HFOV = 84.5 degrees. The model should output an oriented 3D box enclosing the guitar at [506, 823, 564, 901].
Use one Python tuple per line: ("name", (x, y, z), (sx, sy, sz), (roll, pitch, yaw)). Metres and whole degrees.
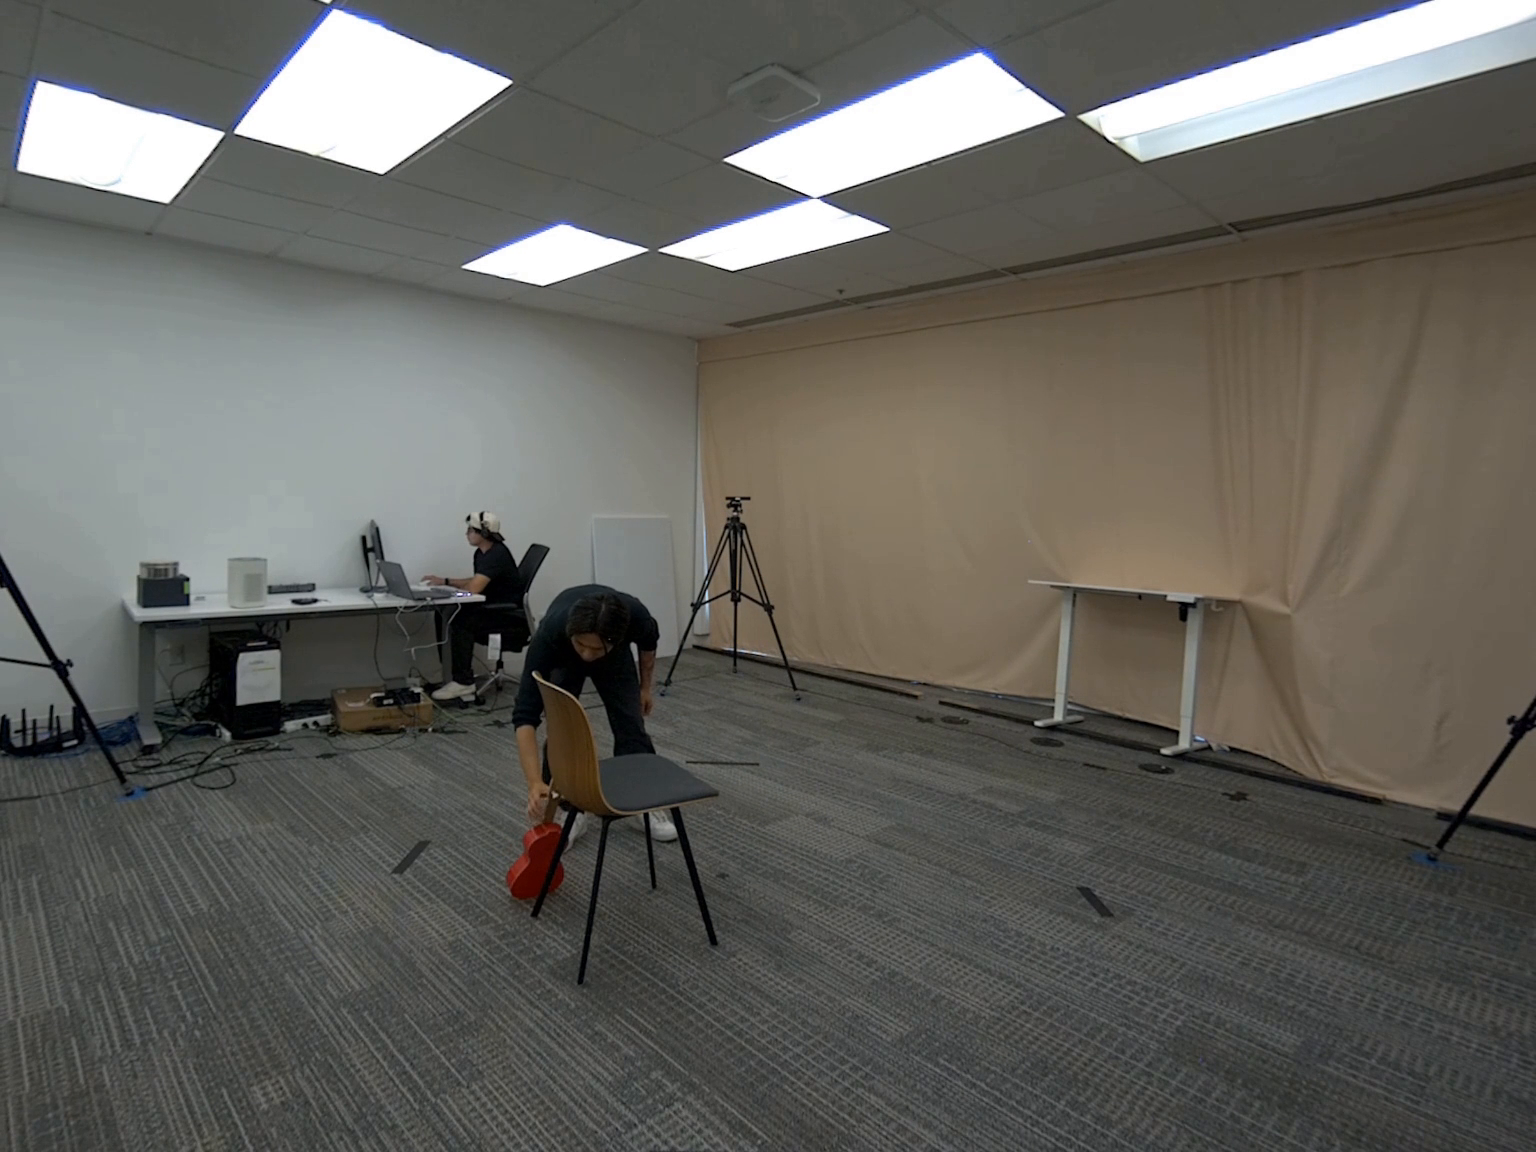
("guitar", (-0.787, 0.875, 2.844), (0.189, 0.492, 0.073), (-4, 25, -34))
